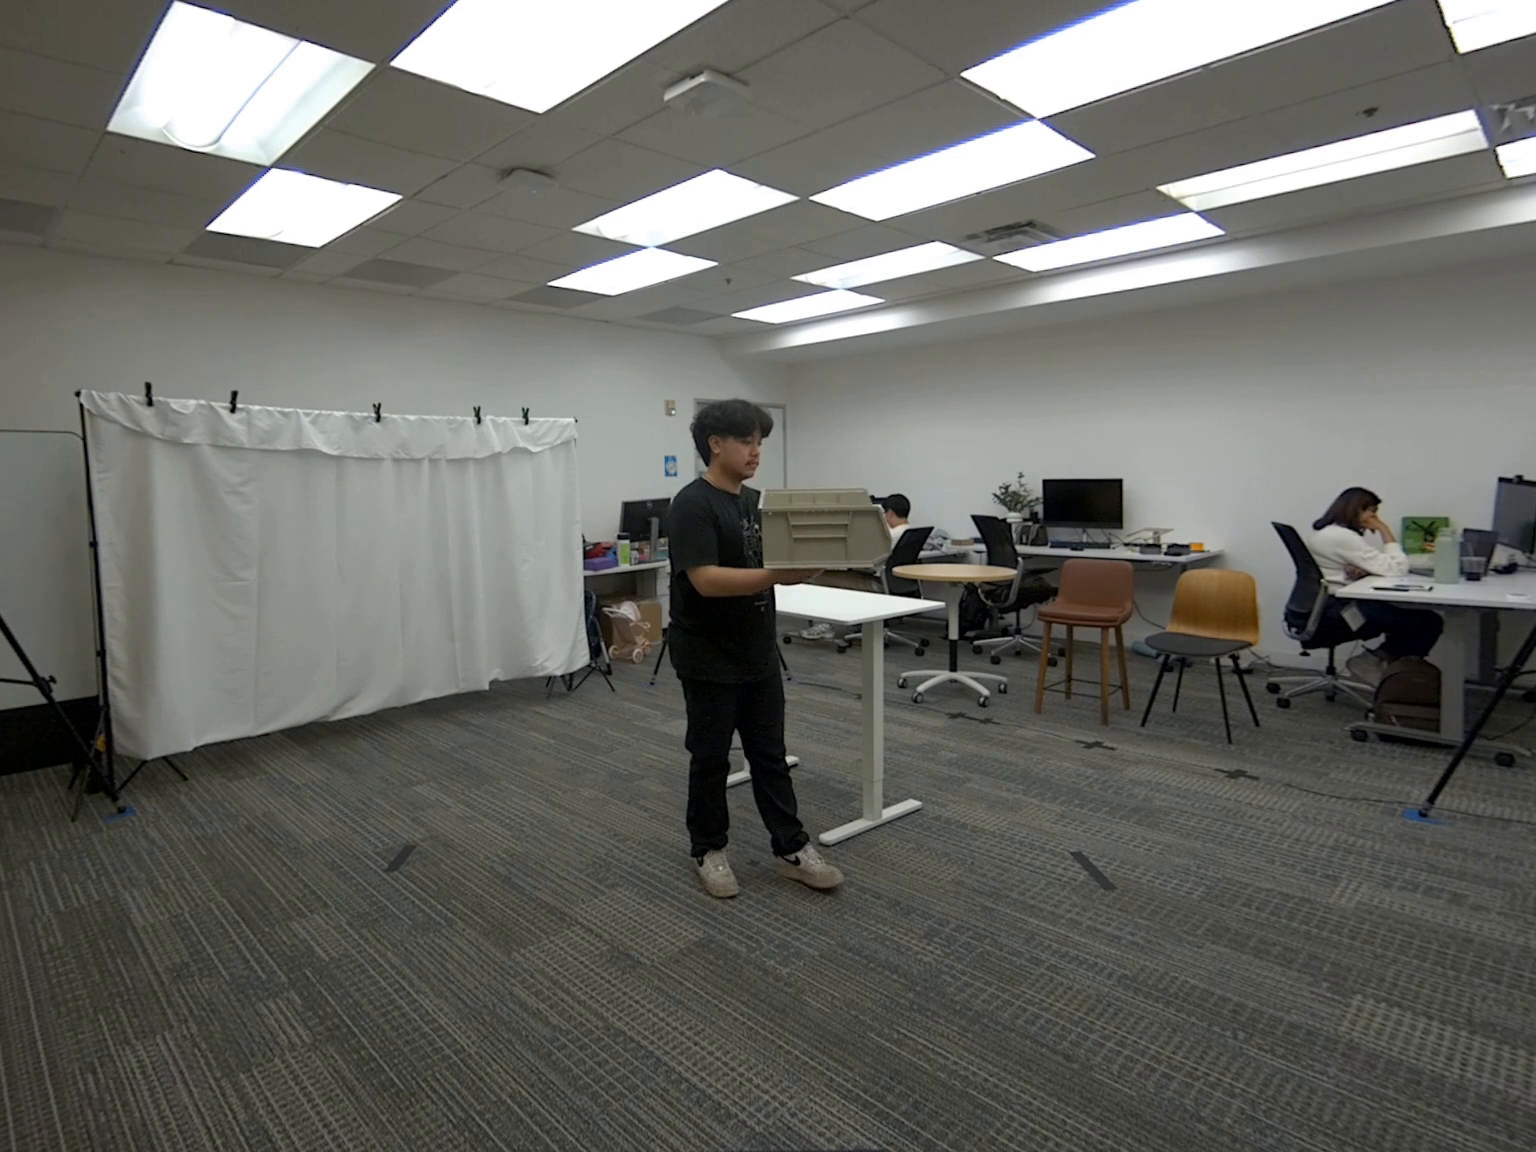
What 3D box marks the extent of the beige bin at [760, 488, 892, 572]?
[{"bbox_3d":[0.173,-0.161,2.630,0.378,0.187,0.425,-2,11,1],"label":"beige bin"}]
